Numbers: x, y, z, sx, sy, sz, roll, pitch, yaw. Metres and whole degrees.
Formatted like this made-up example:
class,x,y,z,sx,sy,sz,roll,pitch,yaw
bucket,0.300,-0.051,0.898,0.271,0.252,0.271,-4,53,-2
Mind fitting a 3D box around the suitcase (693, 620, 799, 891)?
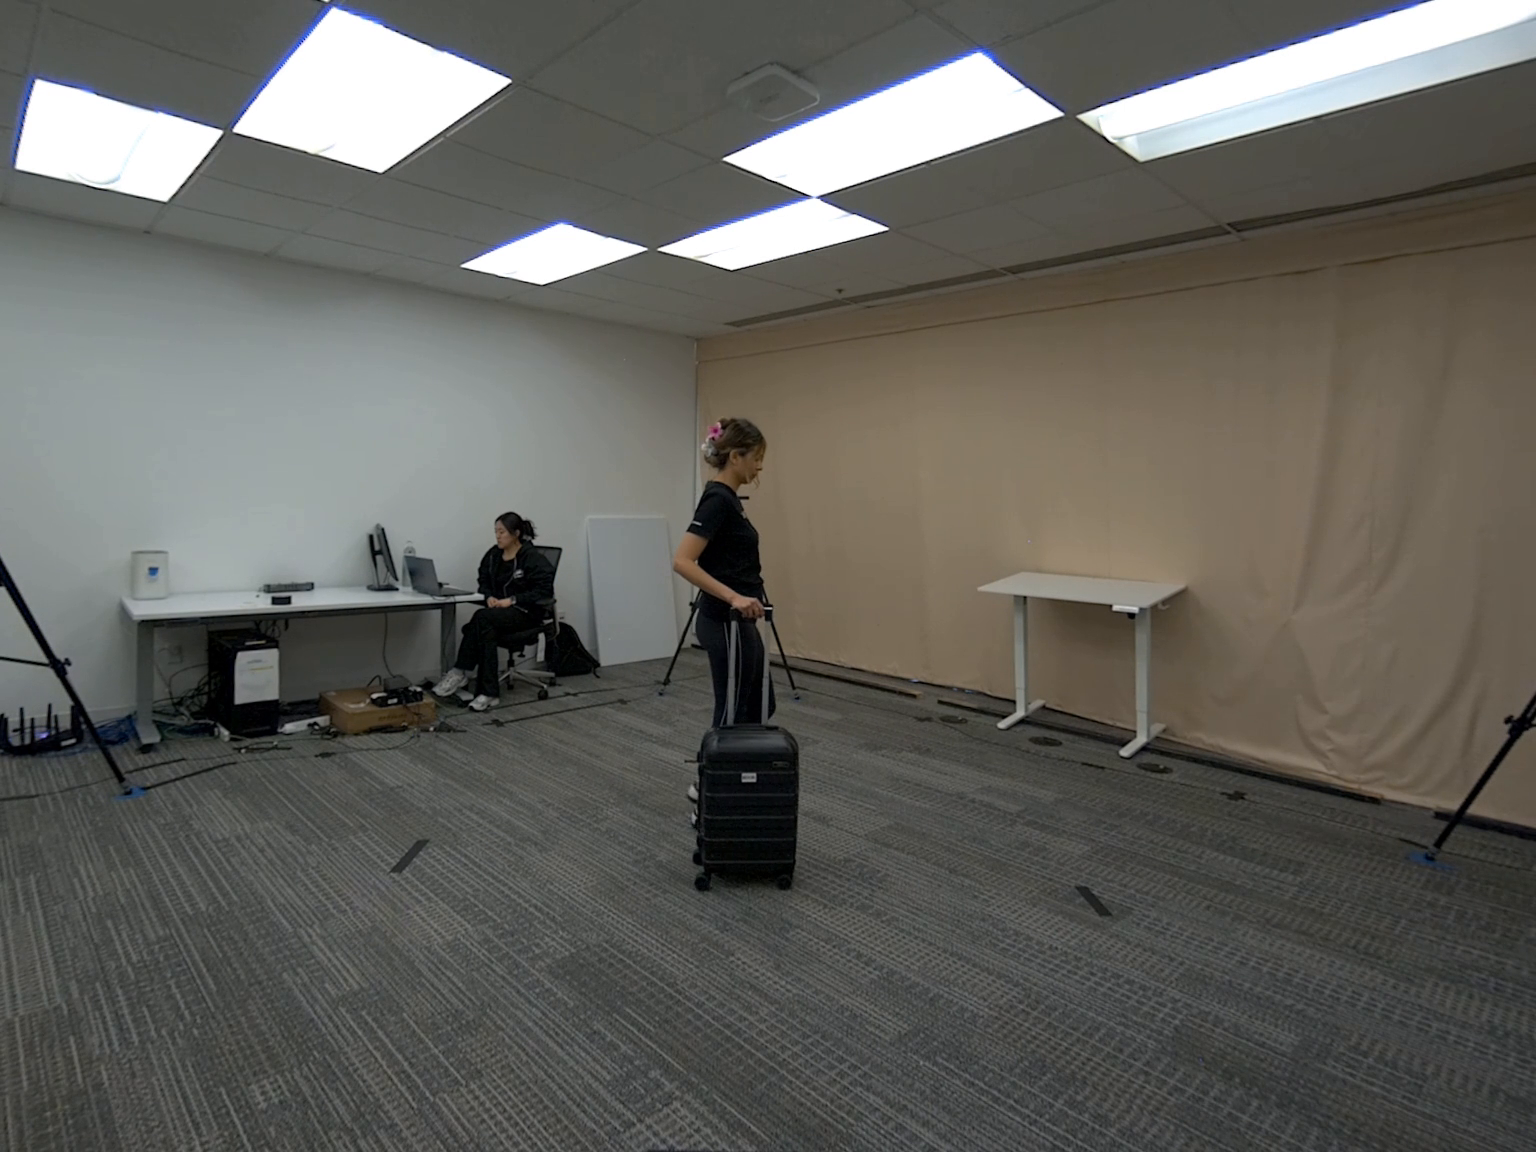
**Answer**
class,x,y,z,sx,sy,sz,roll,pitch,yaw
suitcase,-0.072,0.632,3.072,0.382,0.975,0.259,2,5,-5
